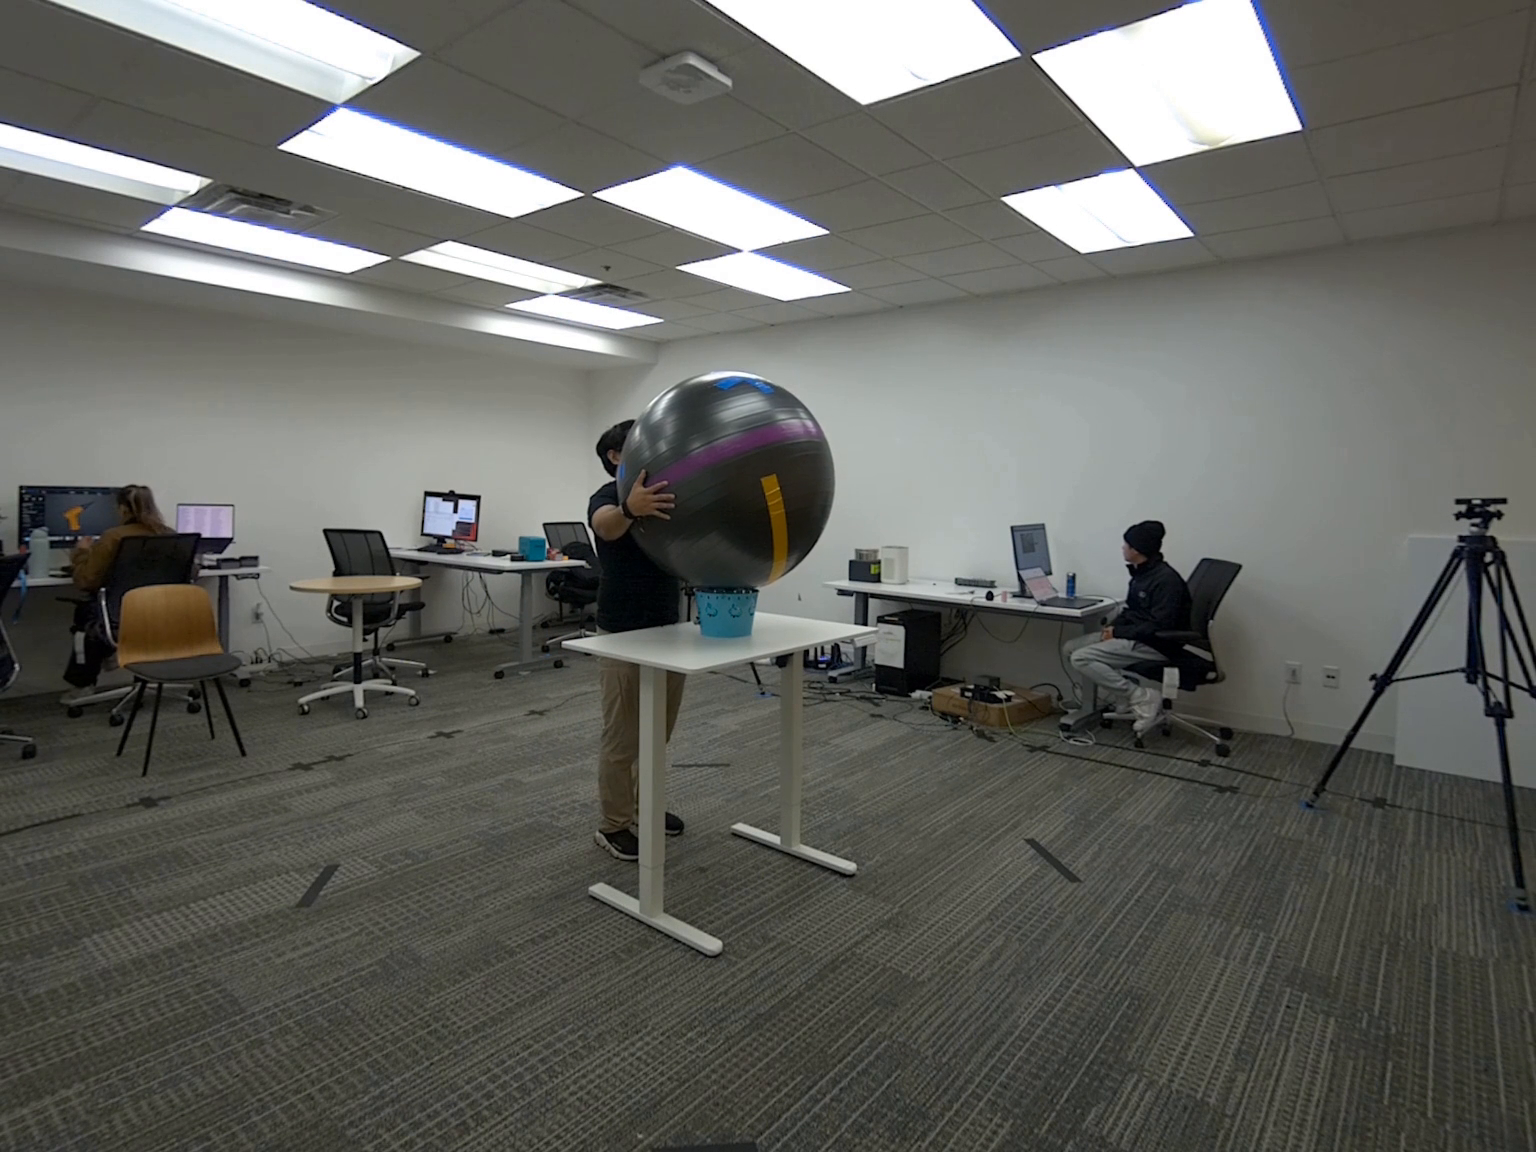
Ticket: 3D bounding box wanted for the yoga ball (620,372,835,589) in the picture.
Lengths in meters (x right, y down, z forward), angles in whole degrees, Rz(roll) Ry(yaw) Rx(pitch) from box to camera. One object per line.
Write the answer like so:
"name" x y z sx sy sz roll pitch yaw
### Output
"yoga ball" -0.161 -0.324 2.964 0.757 0.755 0.762 1 4 -2
